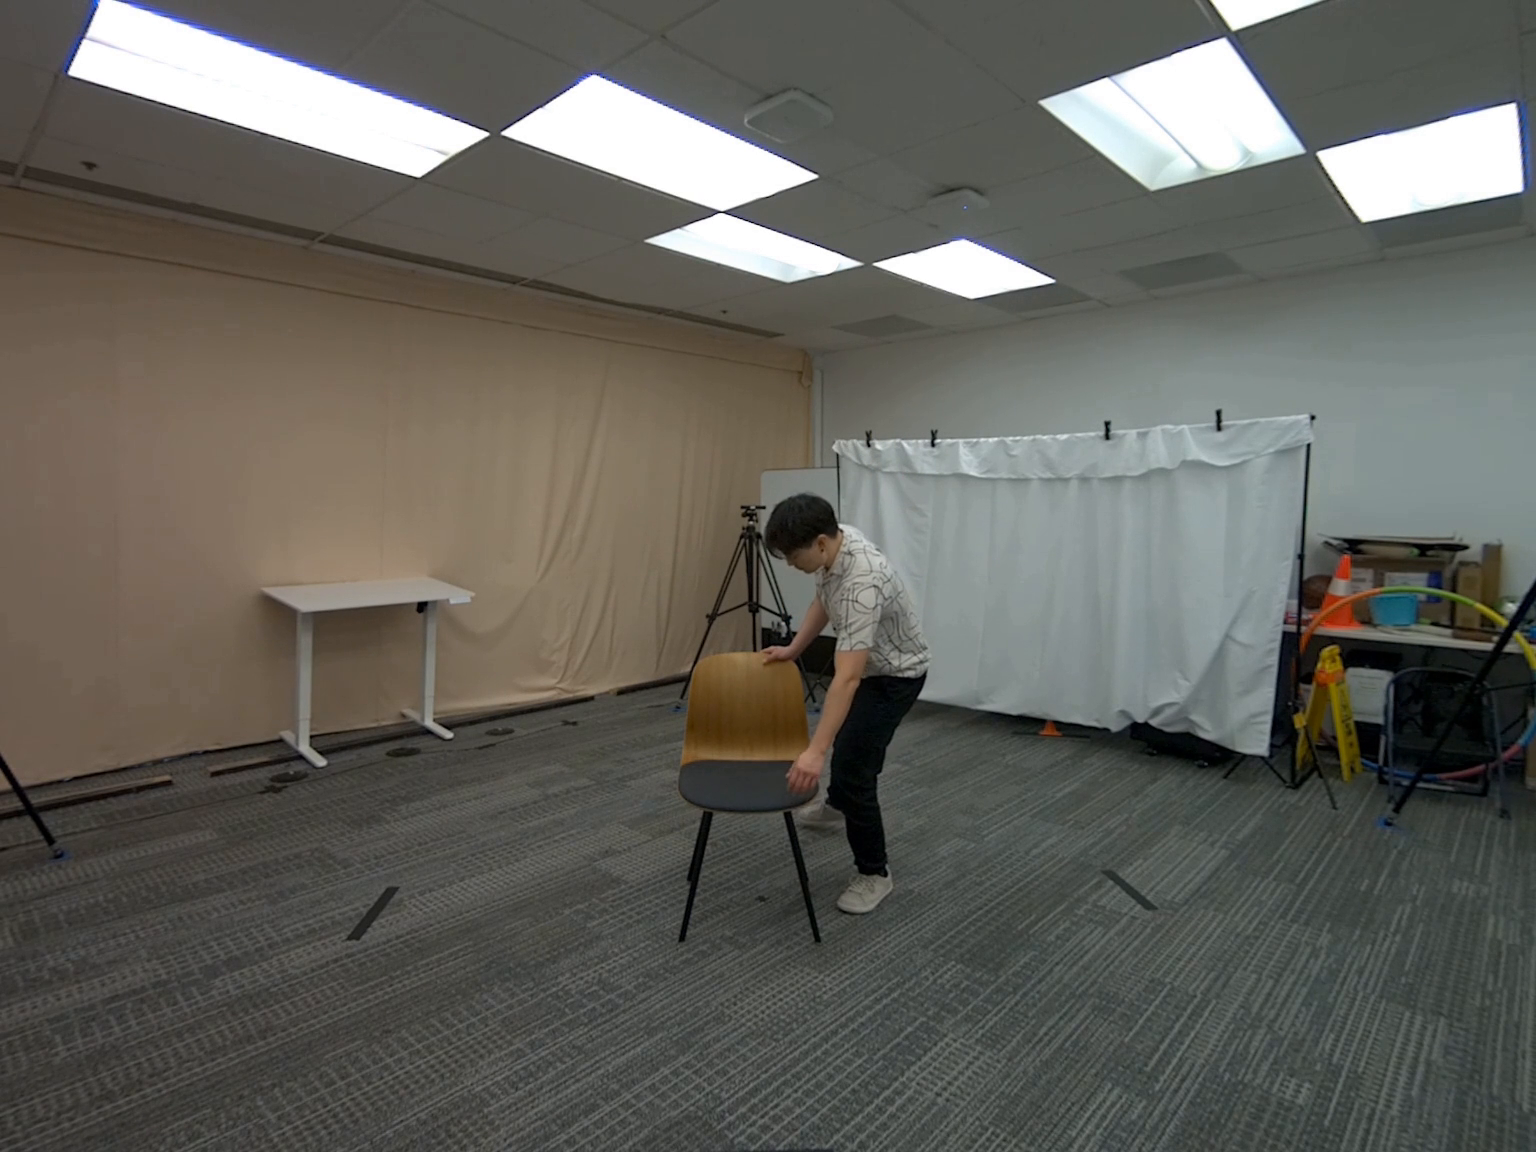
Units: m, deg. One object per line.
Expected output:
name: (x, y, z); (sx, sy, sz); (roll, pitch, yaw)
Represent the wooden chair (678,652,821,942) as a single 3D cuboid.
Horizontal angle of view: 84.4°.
wooden chair: (-0.061, 0.727, 2.870); (0.477, 0.878, 0.523); (0, -1, -2)
